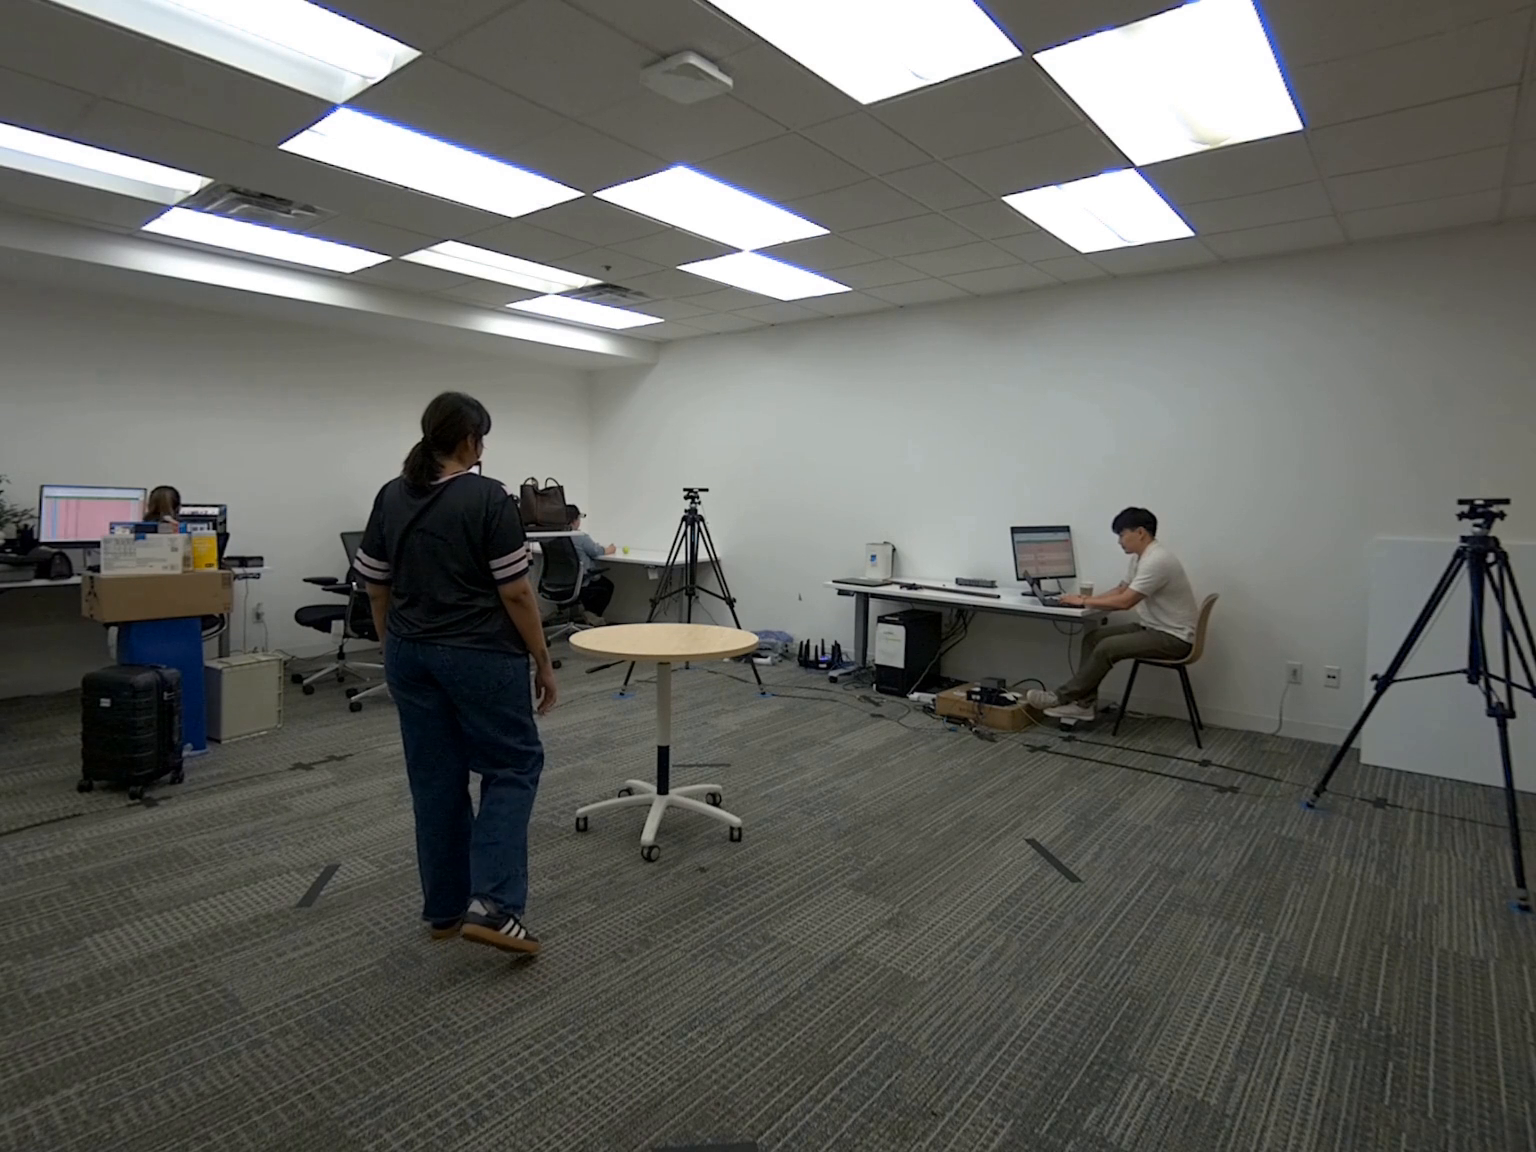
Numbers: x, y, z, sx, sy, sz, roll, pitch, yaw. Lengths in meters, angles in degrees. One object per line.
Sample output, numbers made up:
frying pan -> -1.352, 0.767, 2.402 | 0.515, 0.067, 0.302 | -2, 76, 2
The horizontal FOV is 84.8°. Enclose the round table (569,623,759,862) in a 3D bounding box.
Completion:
round table -> -0.451, 0.637, 3.479 | 0.784, 0.784, 0.789 | 1, 4, -2
